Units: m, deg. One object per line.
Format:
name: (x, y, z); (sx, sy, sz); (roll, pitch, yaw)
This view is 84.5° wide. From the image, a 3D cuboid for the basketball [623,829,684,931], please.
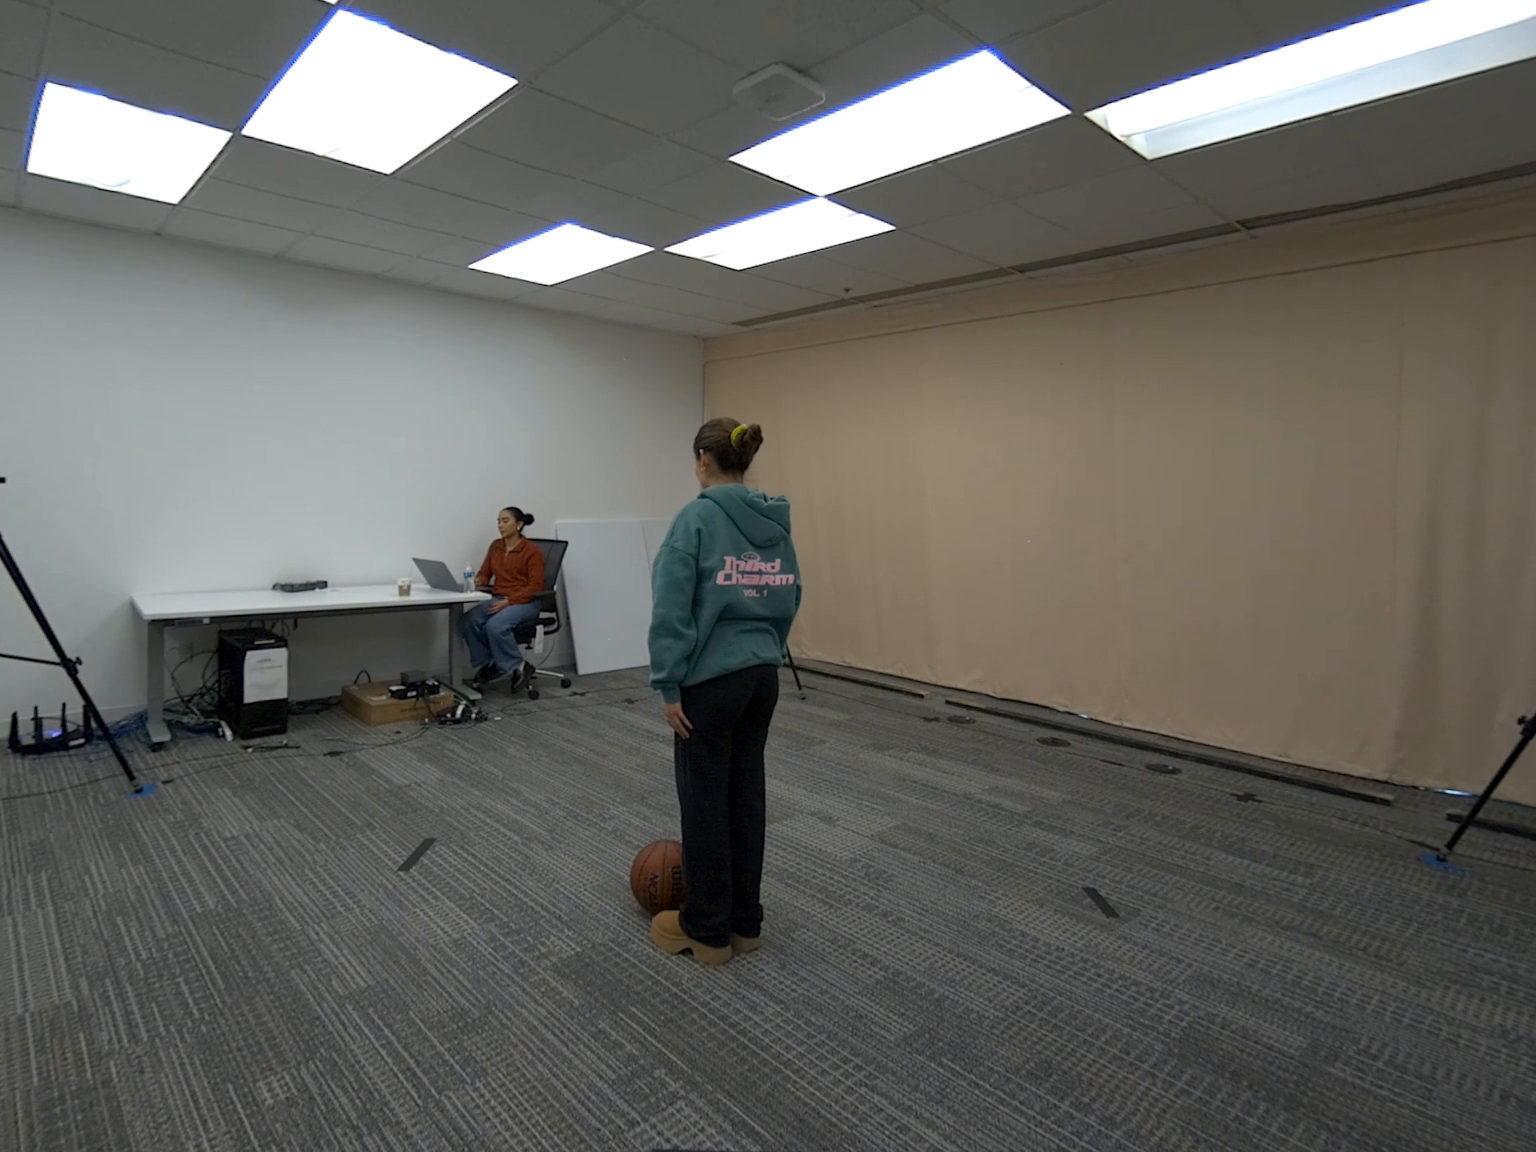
basketball: (-0.348, 1.006, 2.817); (0.236, 0.235, 0.237); (1, 4, -1)
